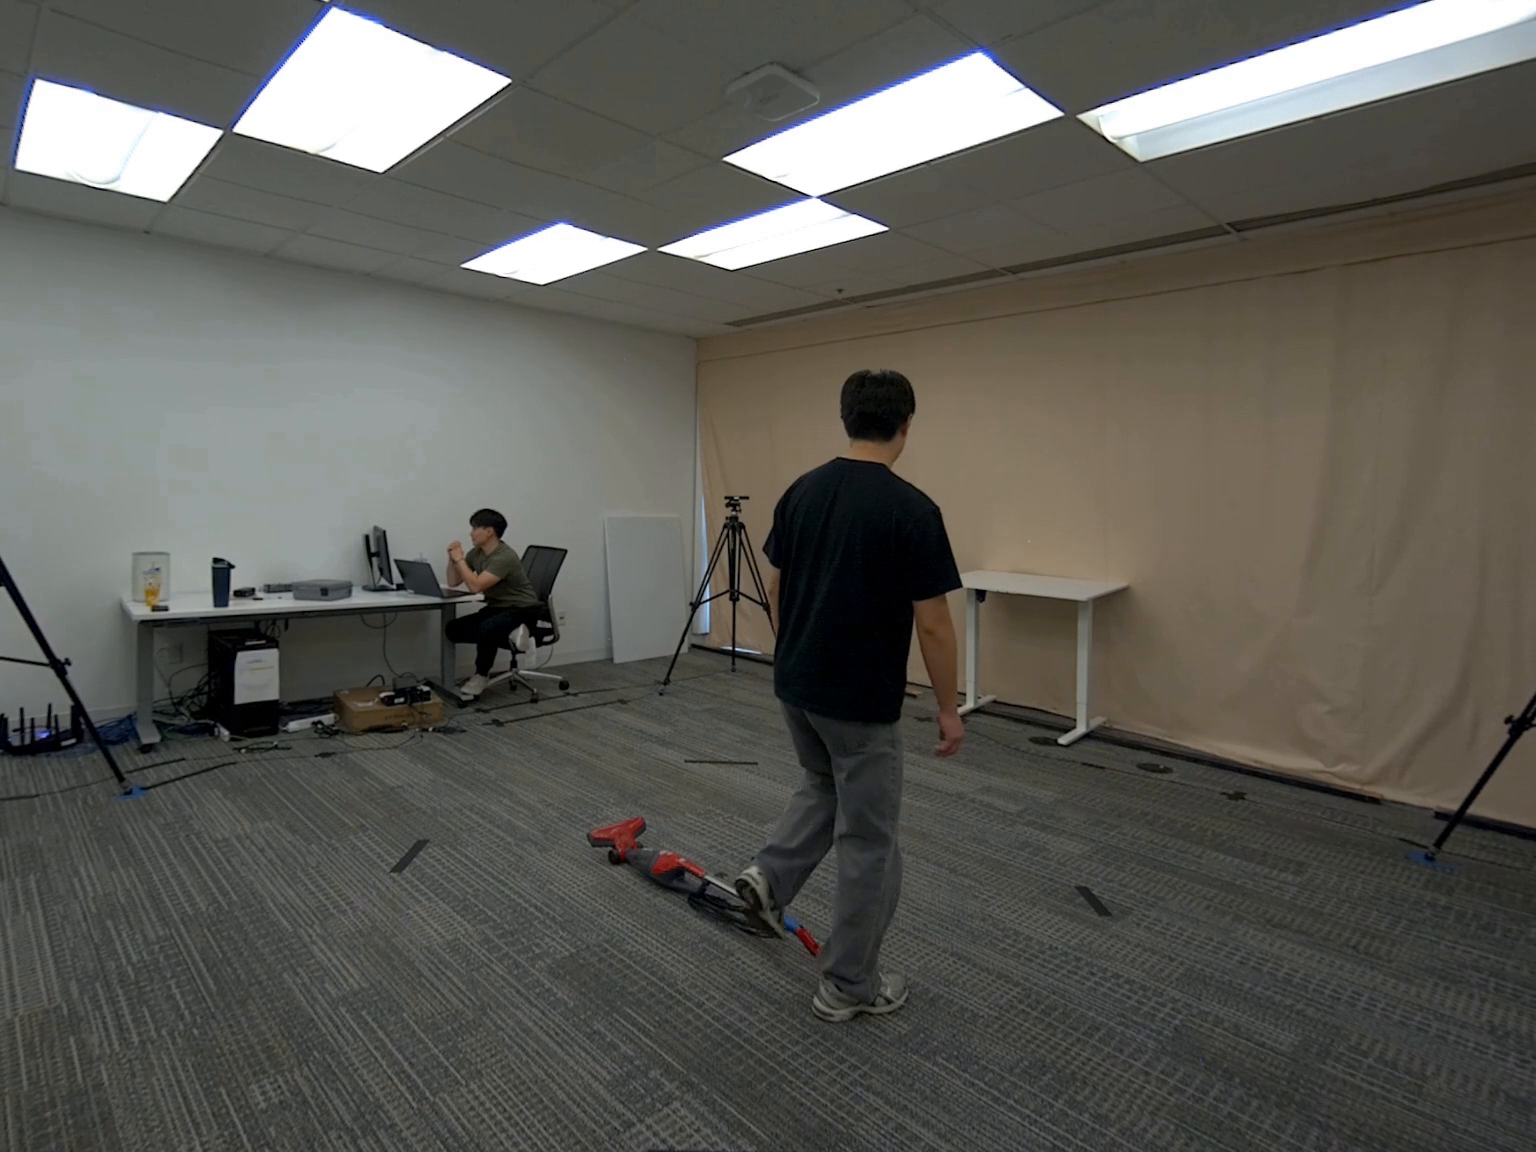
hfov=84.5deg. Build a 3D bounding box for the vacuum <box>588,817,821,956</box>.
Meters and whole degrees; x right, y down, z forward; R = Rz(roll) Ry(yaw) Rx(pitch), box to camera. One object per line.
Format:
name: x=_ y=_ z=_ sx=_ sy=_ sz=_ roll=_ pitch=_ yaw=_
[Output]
vacuum: x=-0.221 y=1.070 z=2.851 sx=0.247 sy=0.143 sz=1.077 roll=-3 pitch=7 yaw=-41
